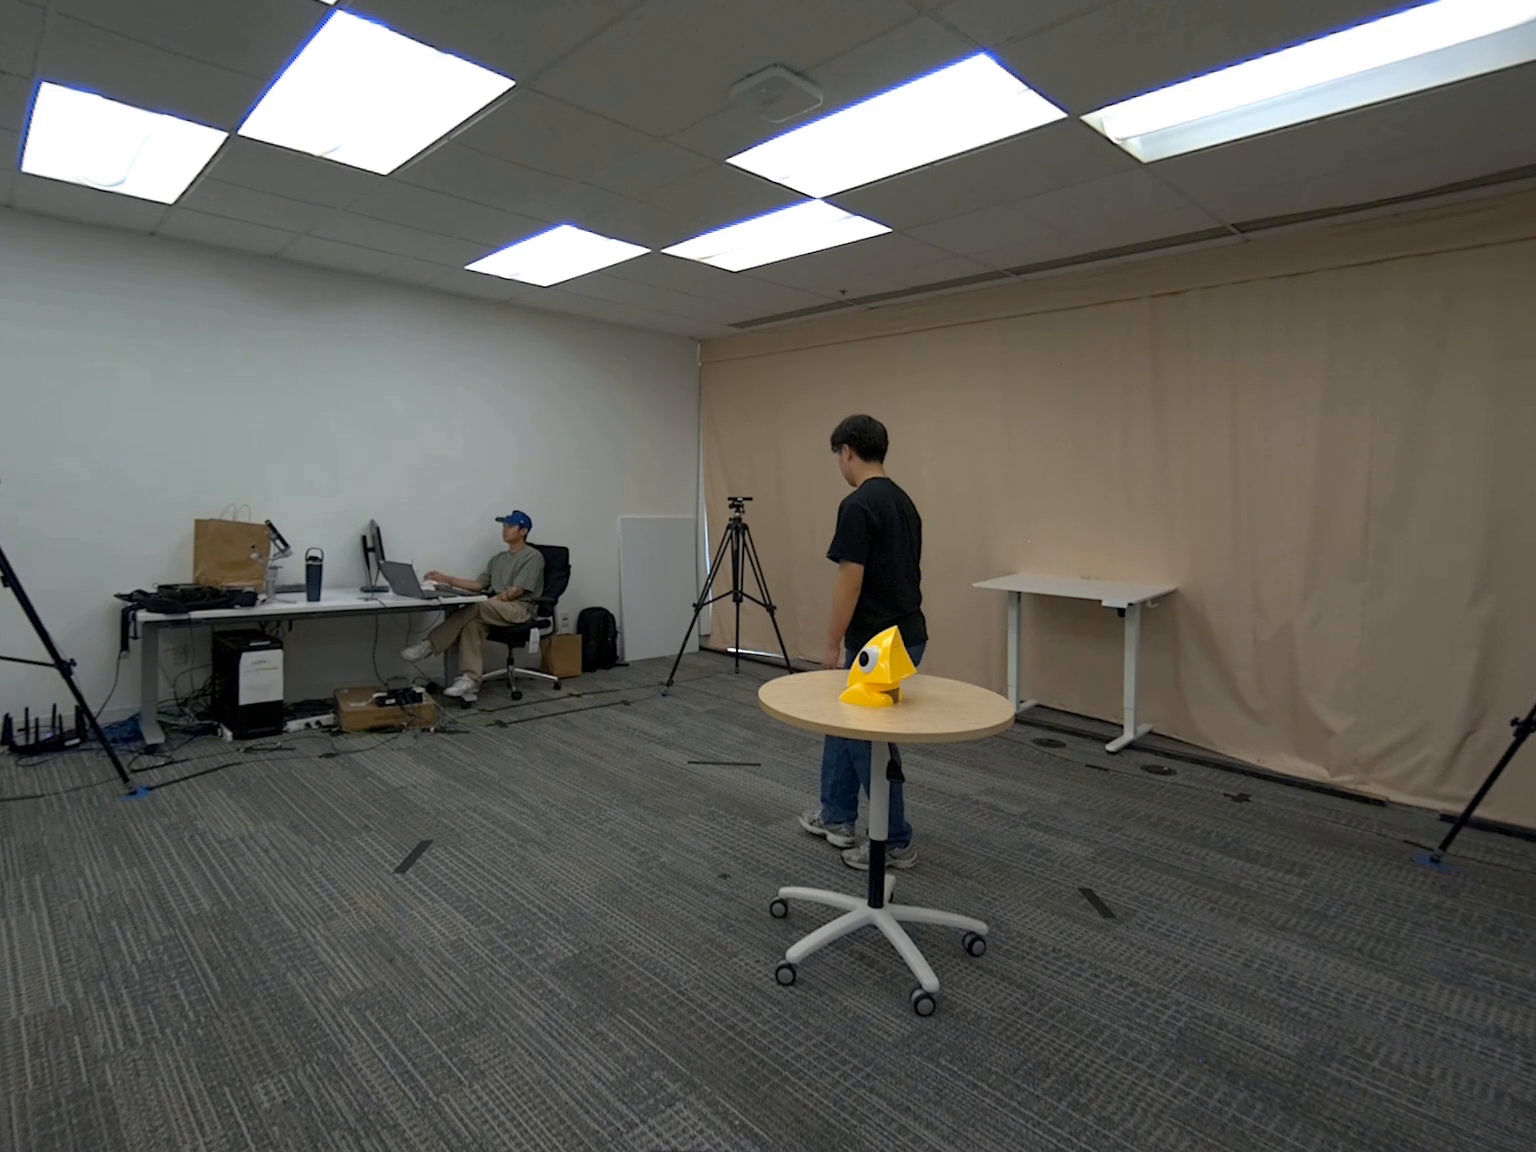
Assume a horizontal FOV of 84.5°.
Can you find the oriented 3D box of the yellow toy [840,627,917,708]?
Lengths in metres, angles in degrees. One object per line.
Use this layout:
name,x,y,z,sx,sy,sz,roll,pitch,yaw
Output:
yellow toy,0.322,0.264,2.532,0.197,0.230,0.201,4,5,32
